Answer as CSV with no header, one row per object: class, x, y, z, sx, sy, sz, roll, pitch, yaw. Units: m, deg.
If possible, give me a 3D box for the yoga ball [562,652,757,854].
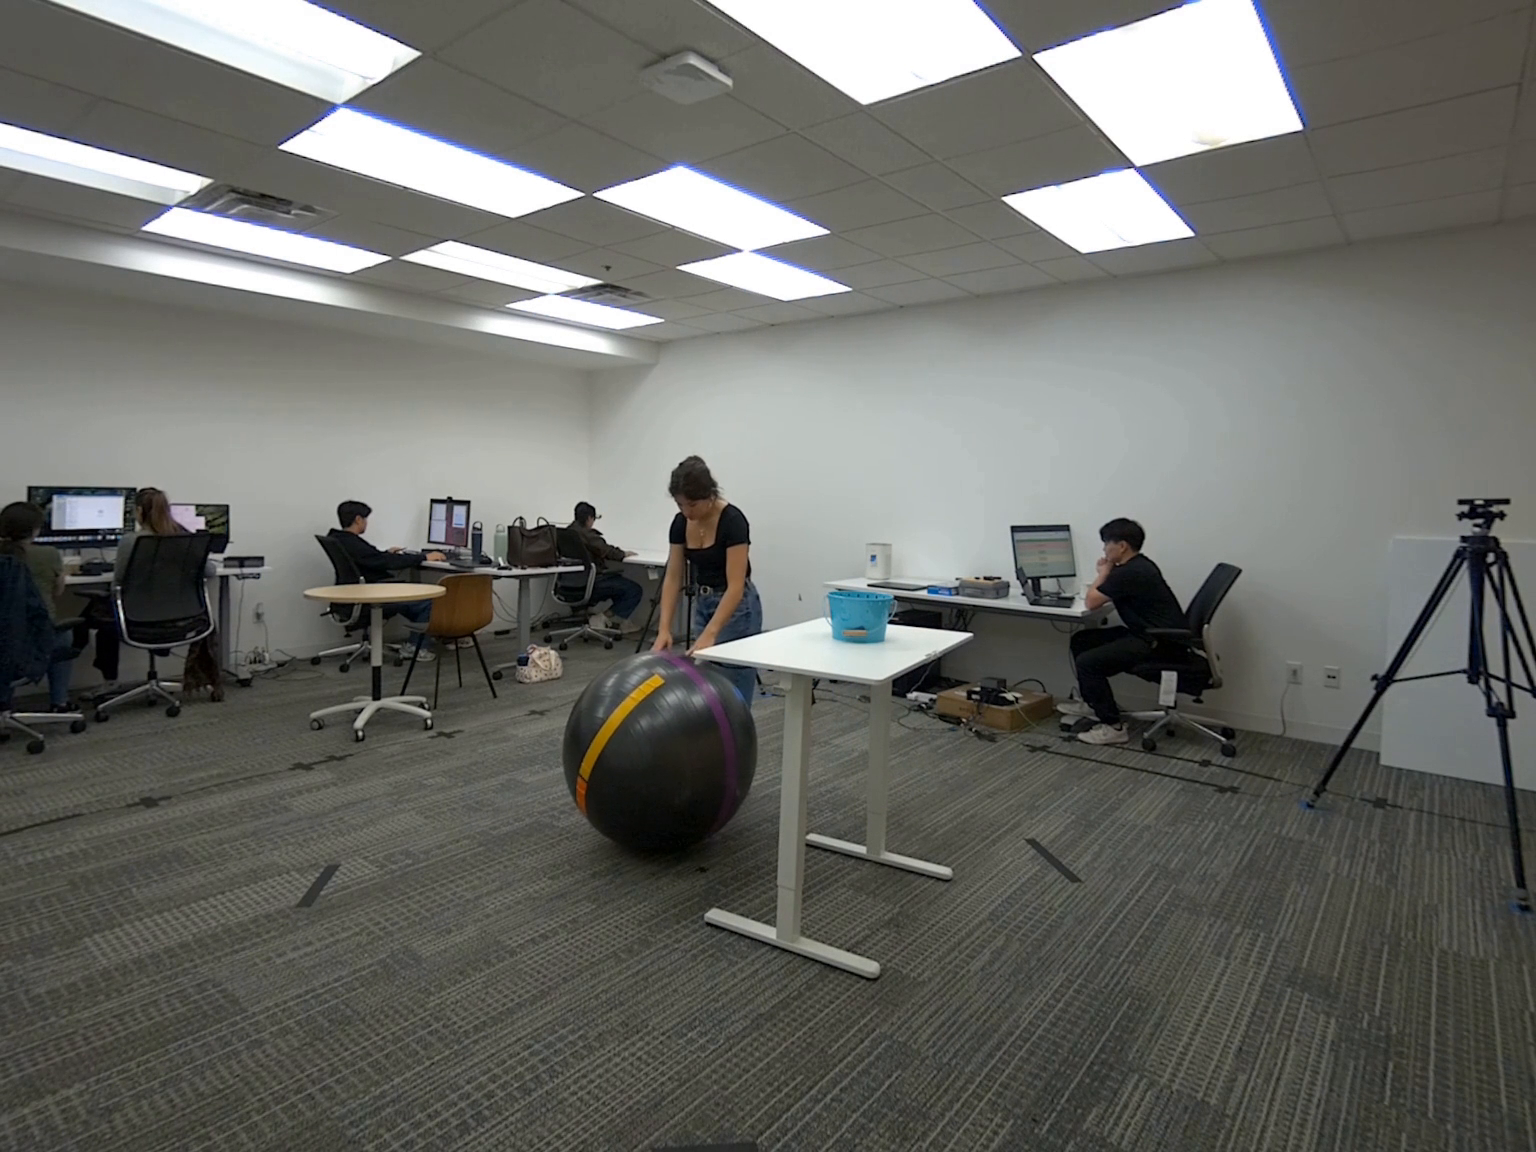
yoga ball,-0.429,0.679,3.315,0.757,0.756,0.762,1,4,-2
